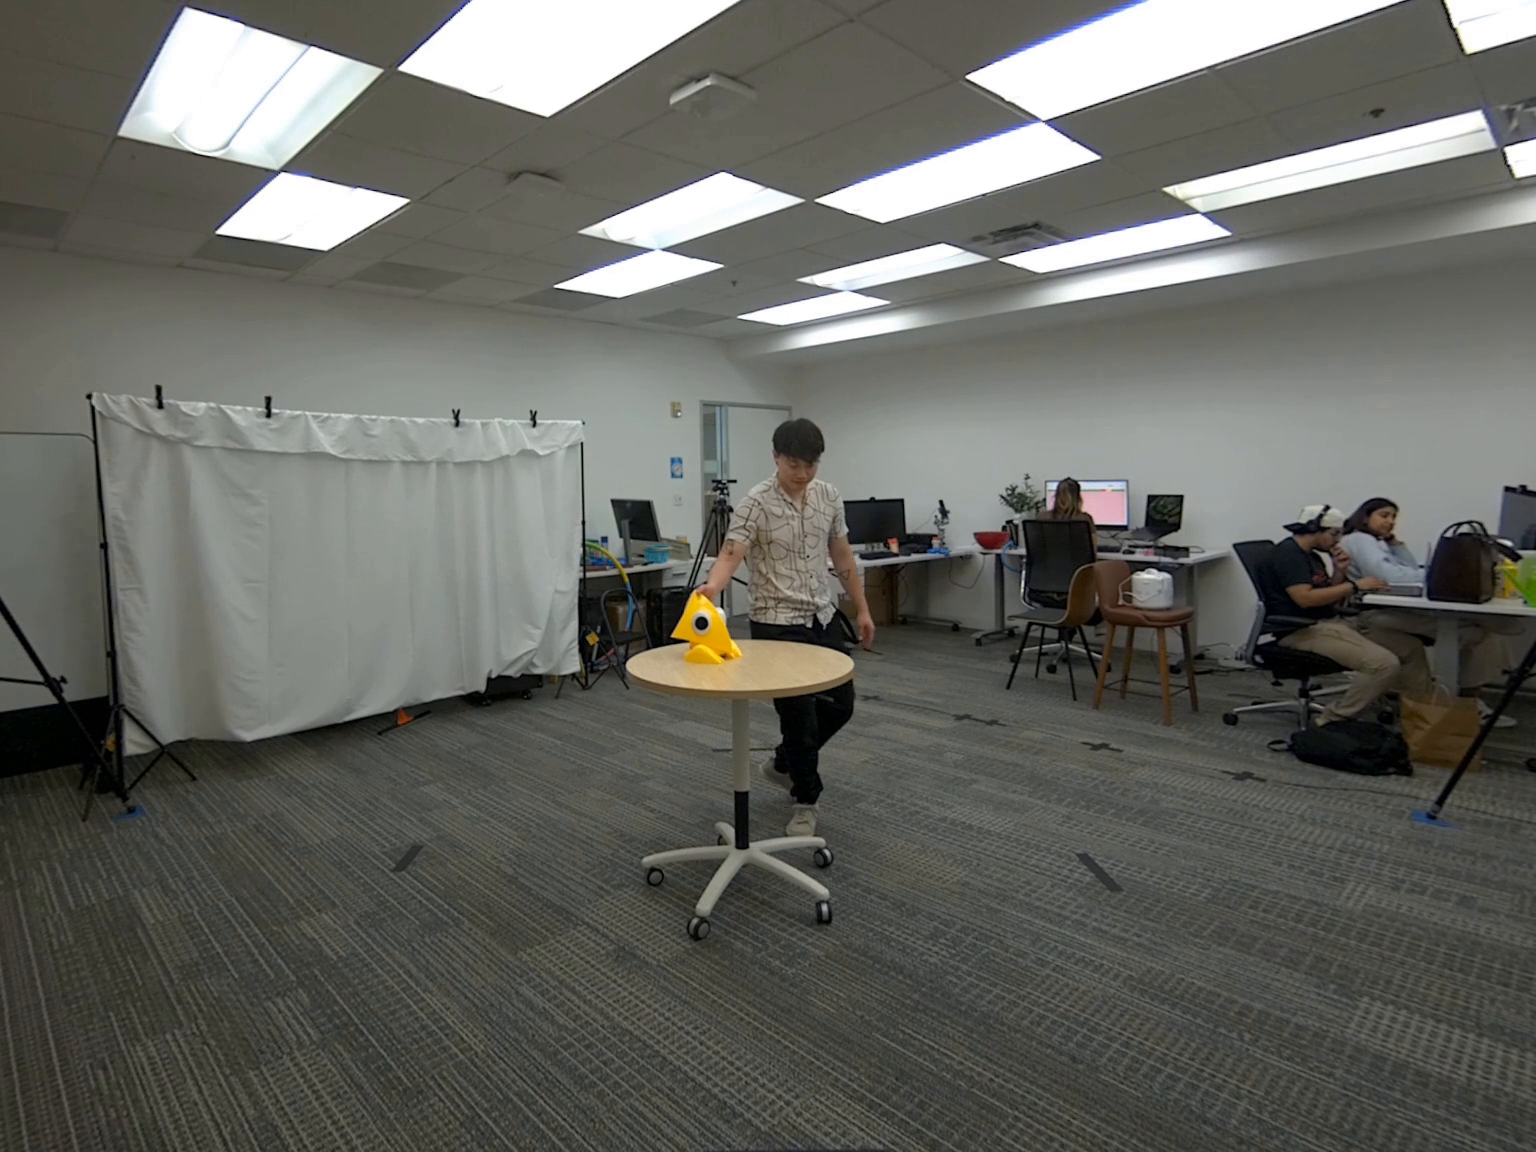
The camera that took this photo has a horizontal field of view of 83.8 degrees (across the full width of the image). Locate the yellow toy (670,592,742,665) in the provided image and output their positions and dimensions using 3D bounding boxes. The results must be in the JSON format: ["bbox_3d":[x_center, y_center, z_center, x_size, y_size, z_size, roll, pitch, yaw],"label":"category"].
[{"bbox_3d":[-0.200,0.170,2.957,0.198,0.230,0.200,3,6,34],"label":"yellow toy"}]
